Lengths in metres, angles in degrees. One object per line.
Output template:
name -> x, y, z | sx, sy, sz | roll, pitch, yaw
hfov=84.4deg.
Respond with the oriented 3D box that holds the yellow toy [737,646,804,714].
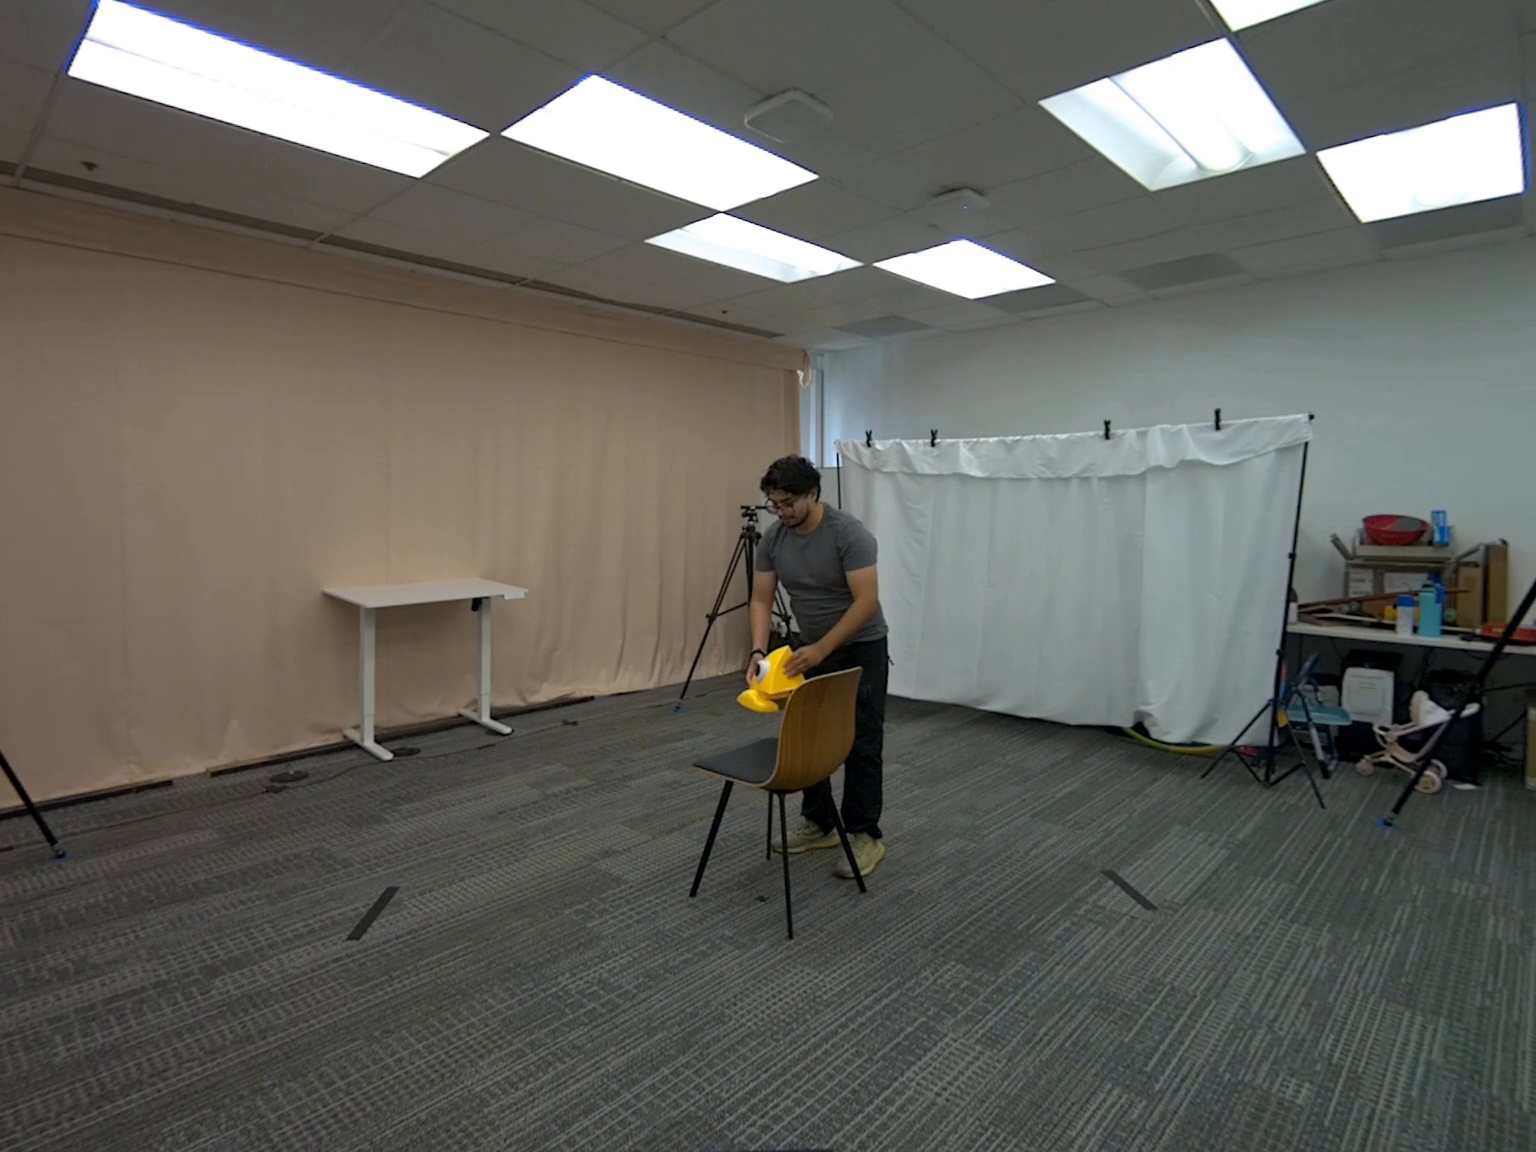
yellow toy -> 0.019, 0.351, 3.019 | 0.200, 0.229, 0.198 | 13, 12, 41
